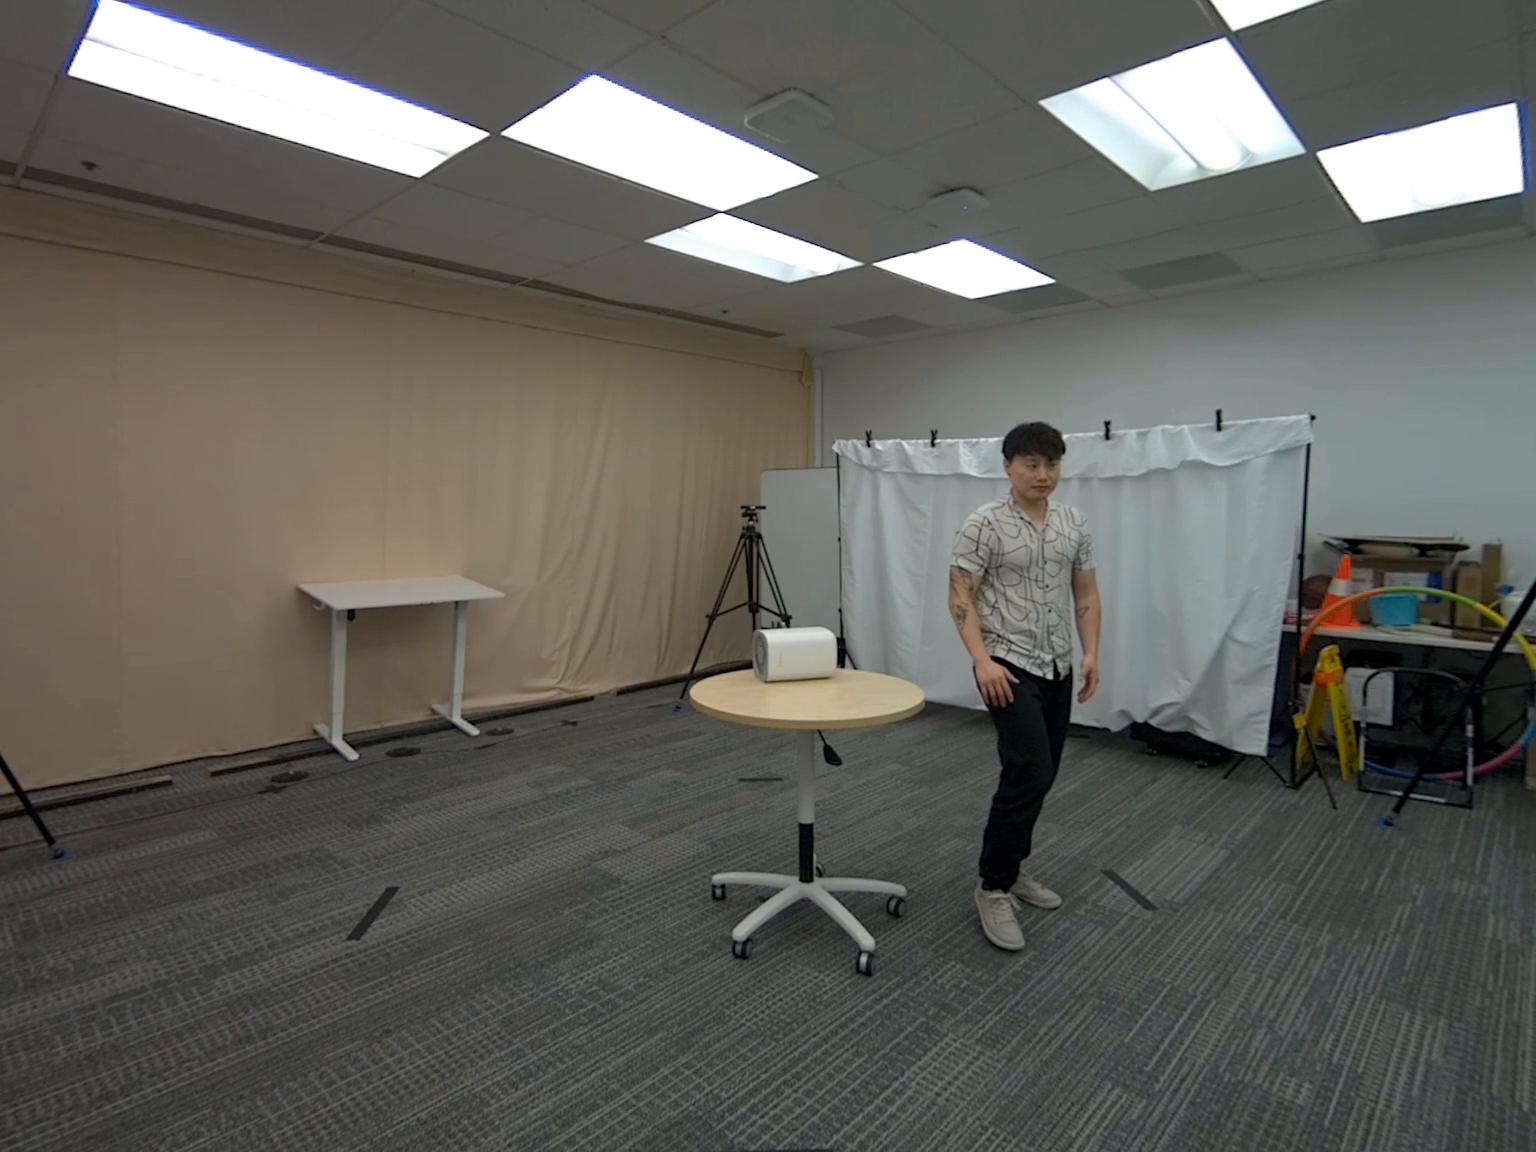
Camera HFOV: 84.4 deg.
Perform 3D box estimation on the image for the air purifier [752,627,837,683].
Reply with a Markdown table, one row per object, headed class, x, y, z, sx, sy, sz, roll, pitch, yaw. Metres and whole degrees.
| class | x | y | z | sx | sy | sz | roll | pitch | yaw |
| --- | --- | --- | --- | --- | --- | --- | --- | --- | --- |
| air purifier | 0.100 | 0.275 | 2.980 | 0.261 | 0.170 | 0.175 | -2 | 4 | -16 |
